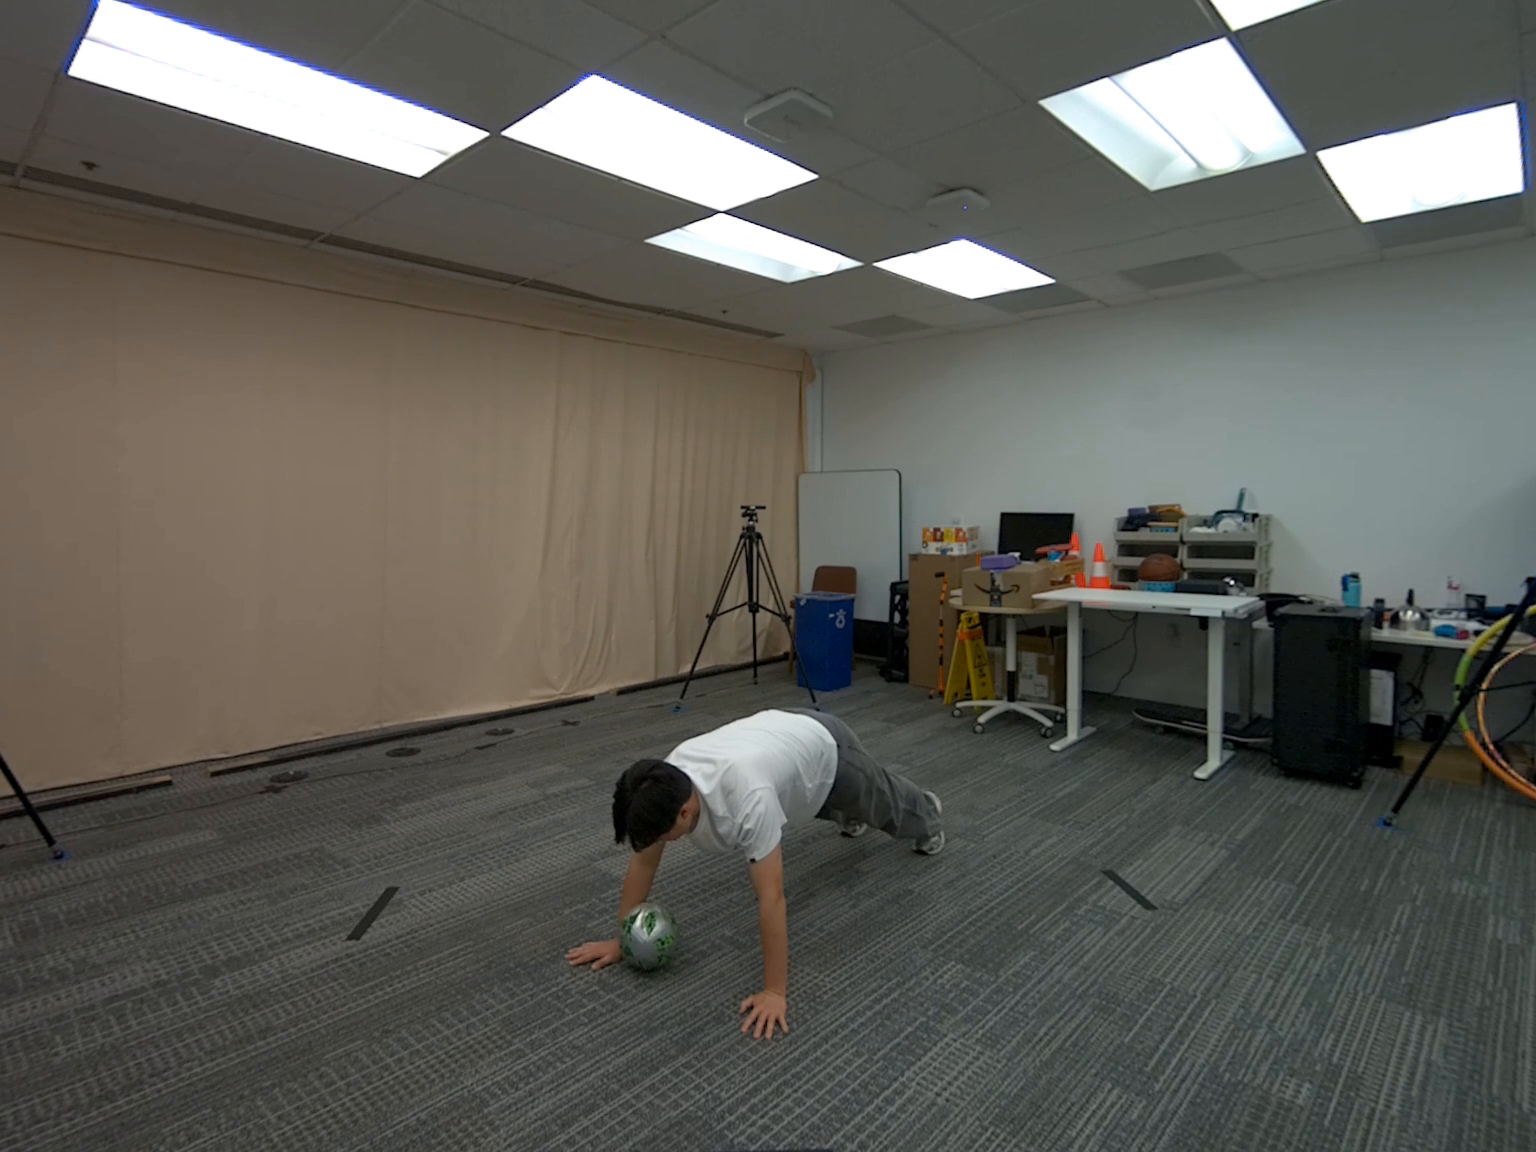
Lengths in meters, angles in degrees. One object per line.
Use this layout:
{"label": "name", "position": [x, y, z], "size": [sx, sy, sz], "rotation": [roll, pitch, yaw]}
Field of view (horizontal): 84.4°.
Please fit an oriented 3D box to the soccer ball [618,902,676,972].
{"label": "soccer ball", "position": [-0.343, 1.094, 2.530], "size": [0.187, 0.187, 0.188], "rotation": [0, 4, -2]}
